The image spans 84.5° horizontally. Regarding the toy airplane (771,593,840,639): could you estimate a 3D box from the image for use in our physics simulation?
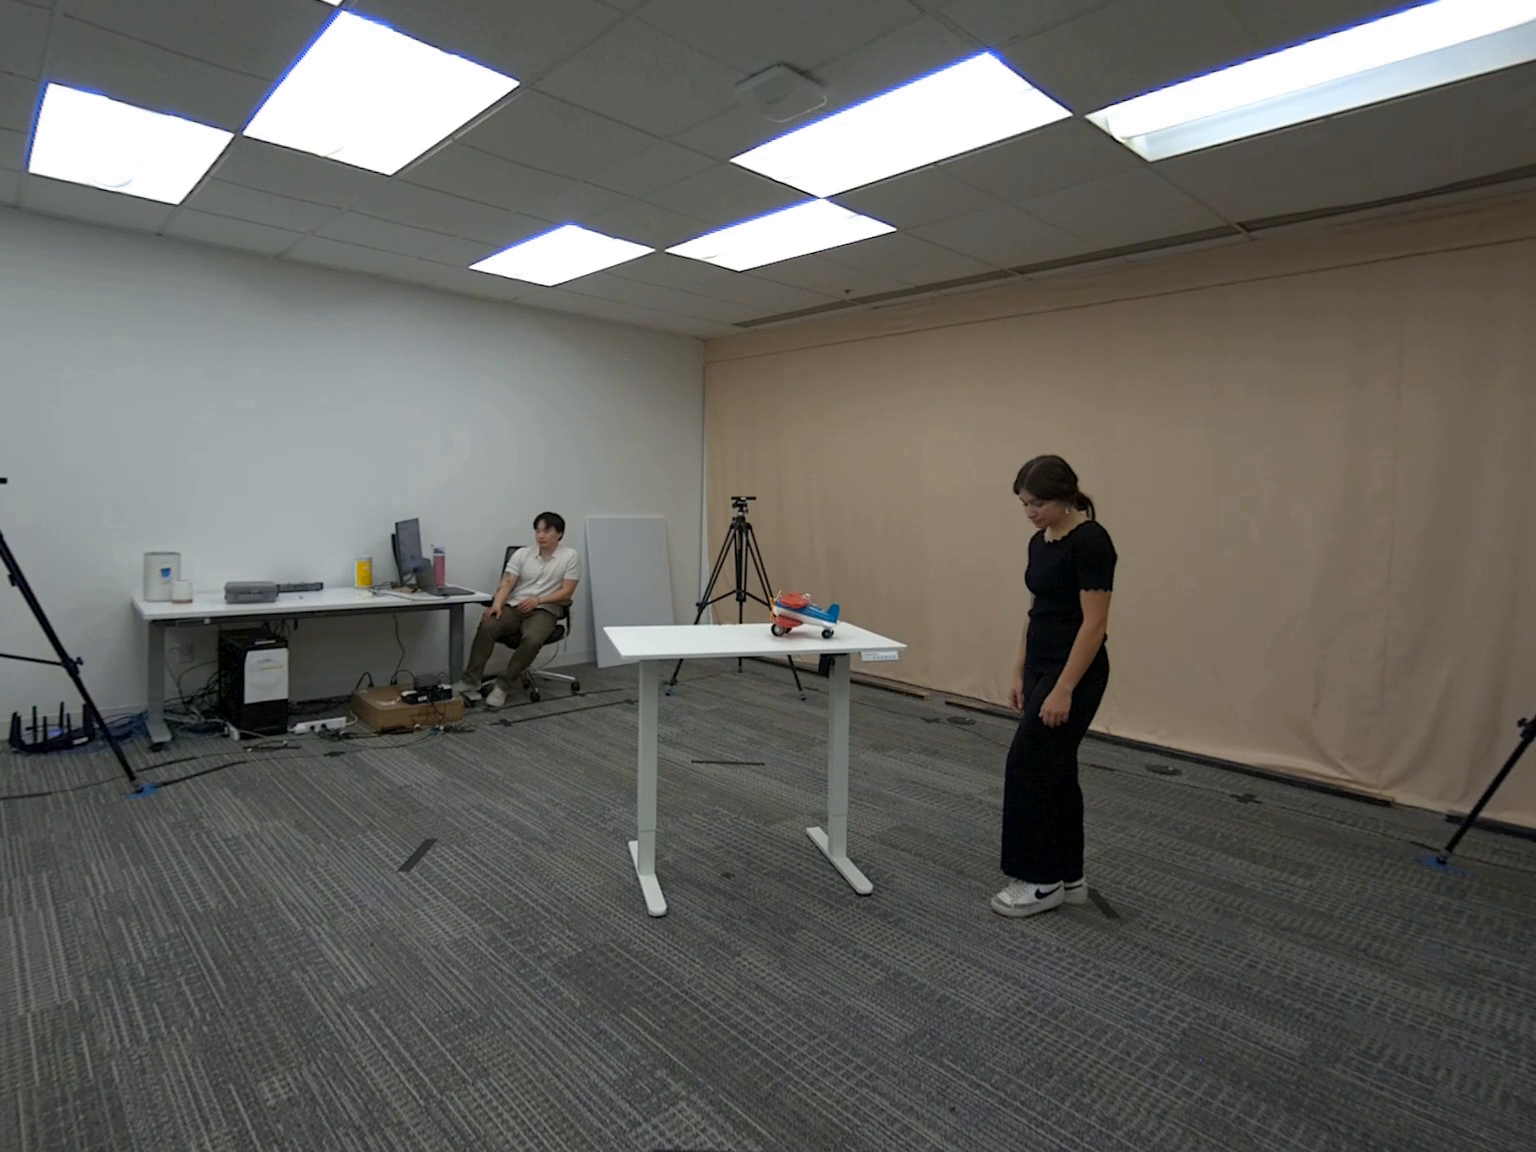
[{"bbox_3d":[0.133,0.145,3.151,0.257,0.156,0.254,-1,6,-10],"label":"toy airplane"}]
